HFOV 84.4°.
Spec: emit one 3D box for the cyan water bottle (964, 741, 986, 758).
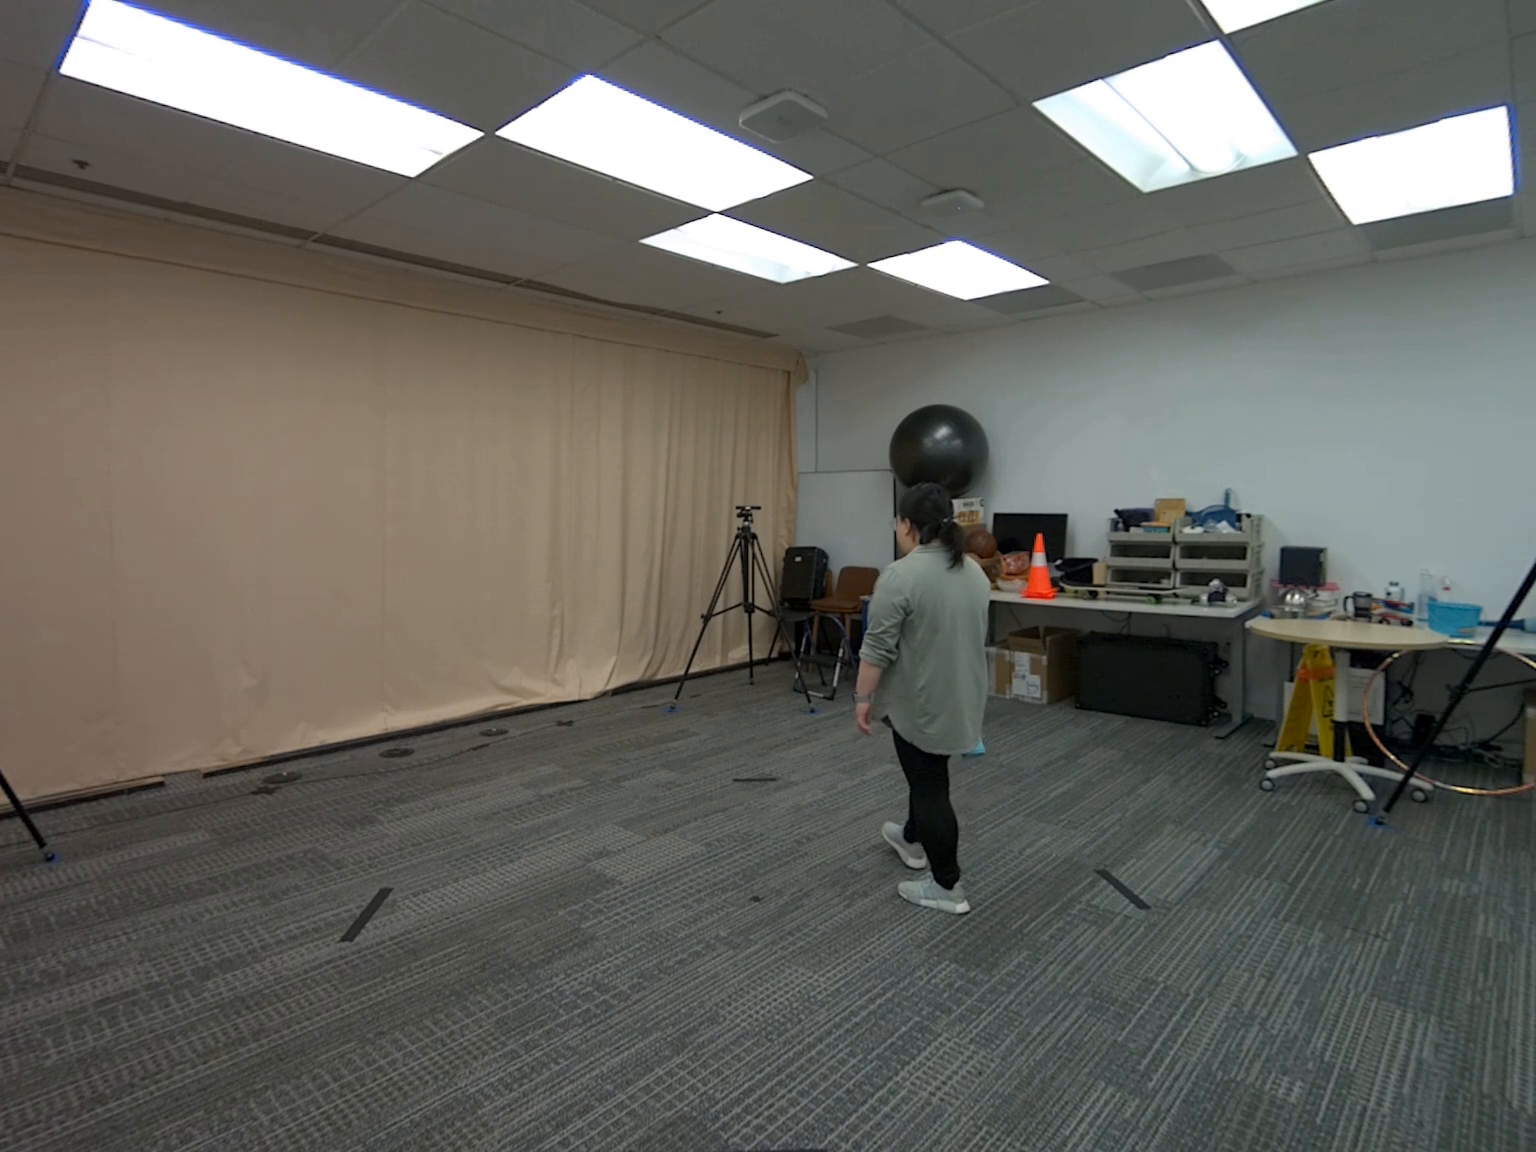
[{"bbox_3d":[0.756,0.546,3.241,0.092,0.289,0.091,-8,-26,-6],"label":"cyan water bottle"}]
